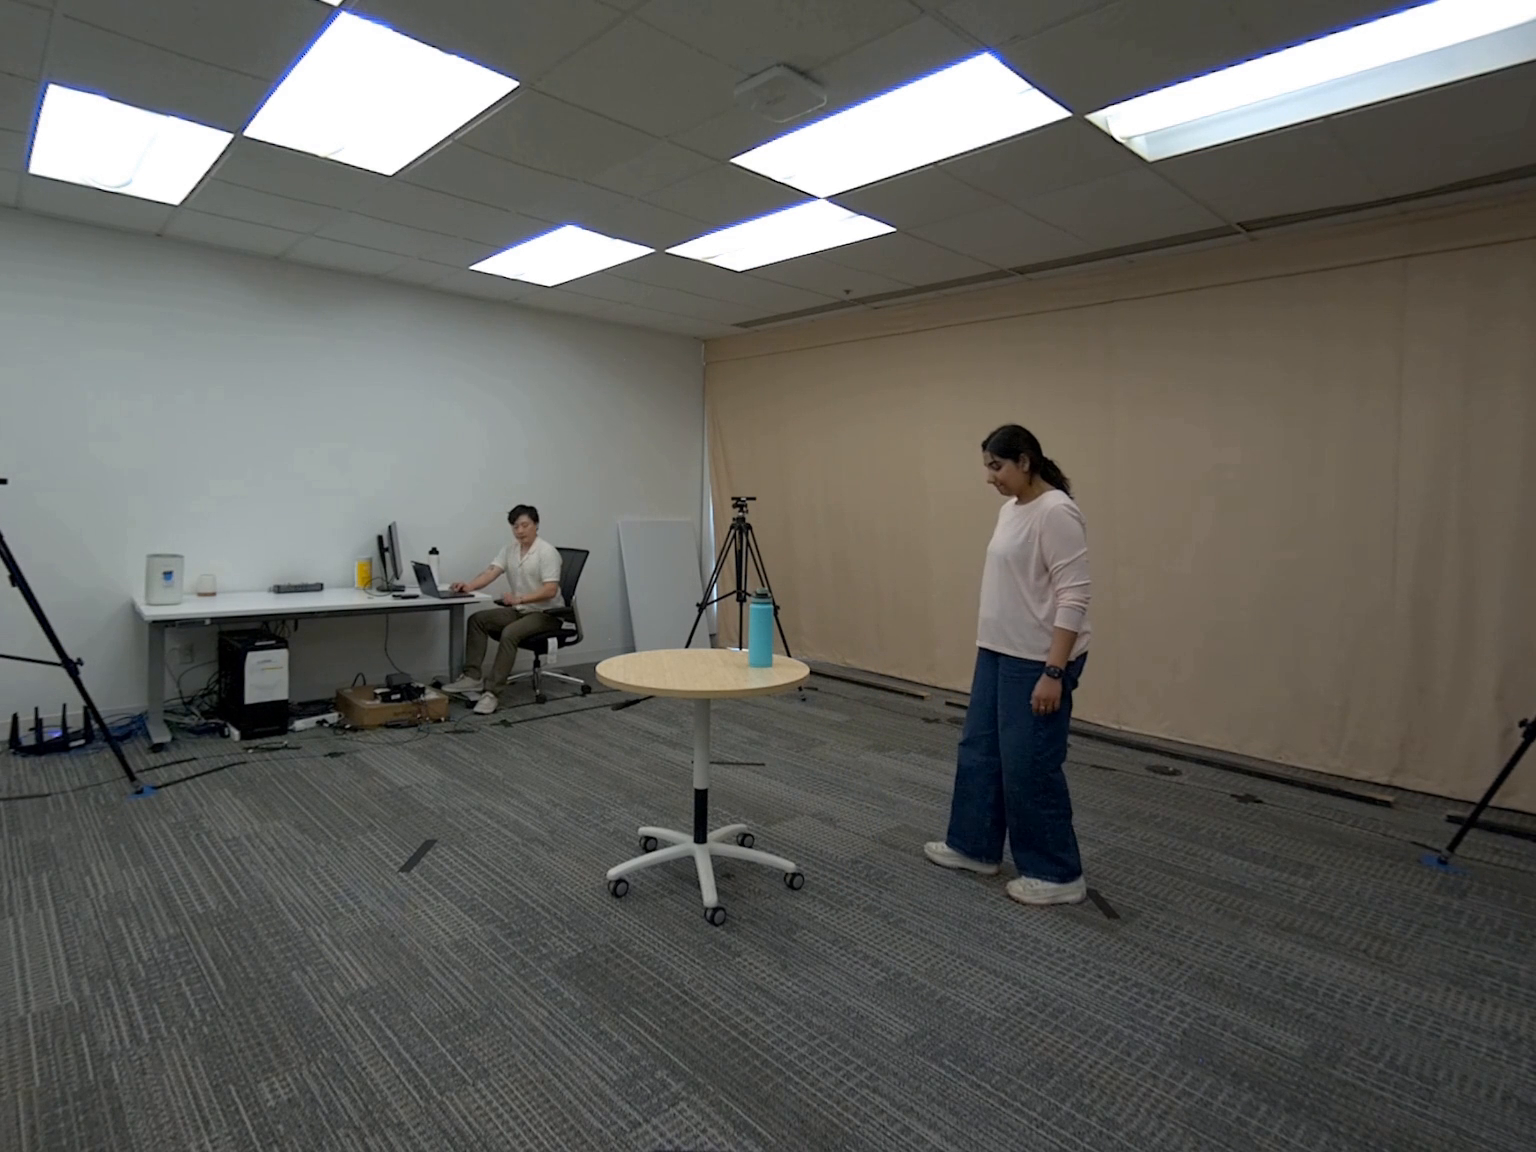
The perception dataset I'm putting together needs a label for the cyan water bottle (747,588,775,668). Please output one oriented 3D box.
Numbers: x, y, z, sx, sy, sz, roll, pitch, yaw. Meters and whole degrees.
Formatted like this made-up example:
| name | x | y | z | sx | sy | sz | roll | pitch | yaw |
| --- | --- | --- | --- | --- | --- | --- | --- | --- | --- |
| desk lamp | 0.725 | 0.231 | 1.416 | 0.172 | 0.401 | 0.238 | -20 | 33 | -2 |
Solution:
| name | x | y | z | sx | sy | sz | roll | pitch | yaw |
| --- | --- | --- | --- | --- | --- | --- | --- | --- | --- |
| cyan water bottle | -0.028 | 0.189 | 3.073 | 0.092 | 0.283 | 0.092 | 2 | 1 | -1 |
